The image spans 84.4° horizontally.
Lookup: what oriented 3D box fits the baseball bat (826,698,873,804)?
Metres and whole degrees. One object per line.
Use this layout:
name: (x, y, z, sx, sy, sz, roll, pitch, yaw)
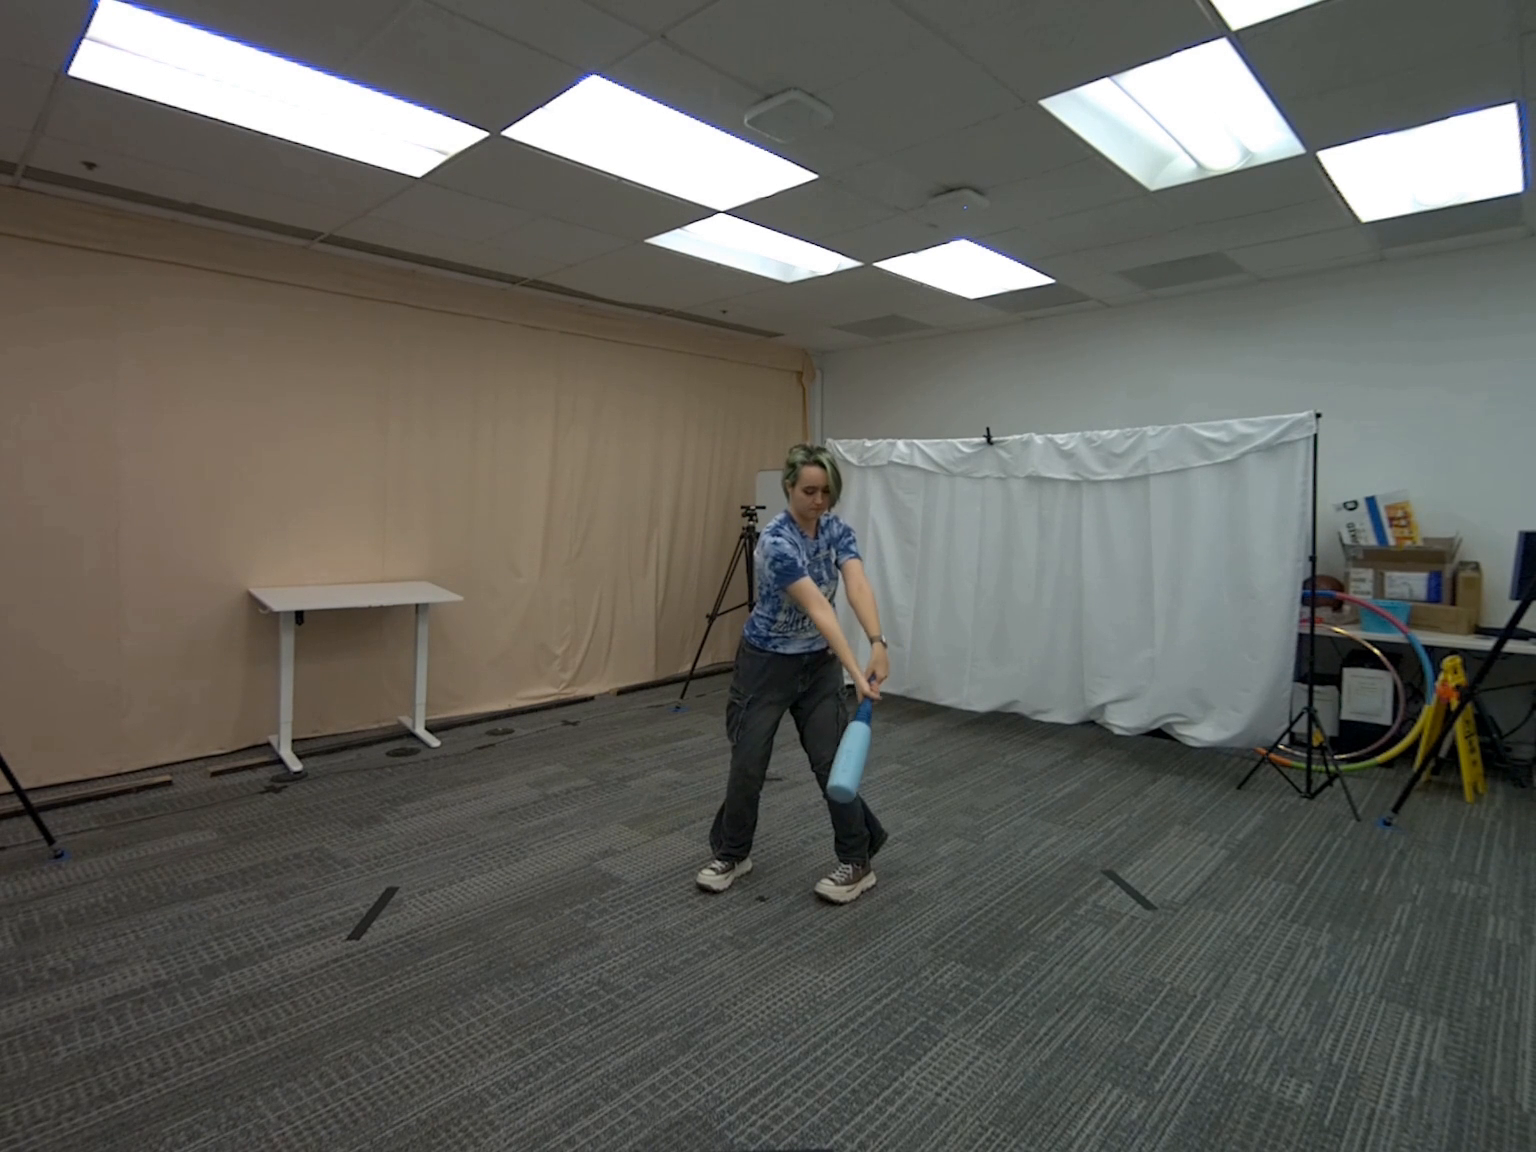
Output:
baseball bat: (0.298, 0.454, 2.585, 0.091, 0.087, 0.543, 1, 36, 22)
